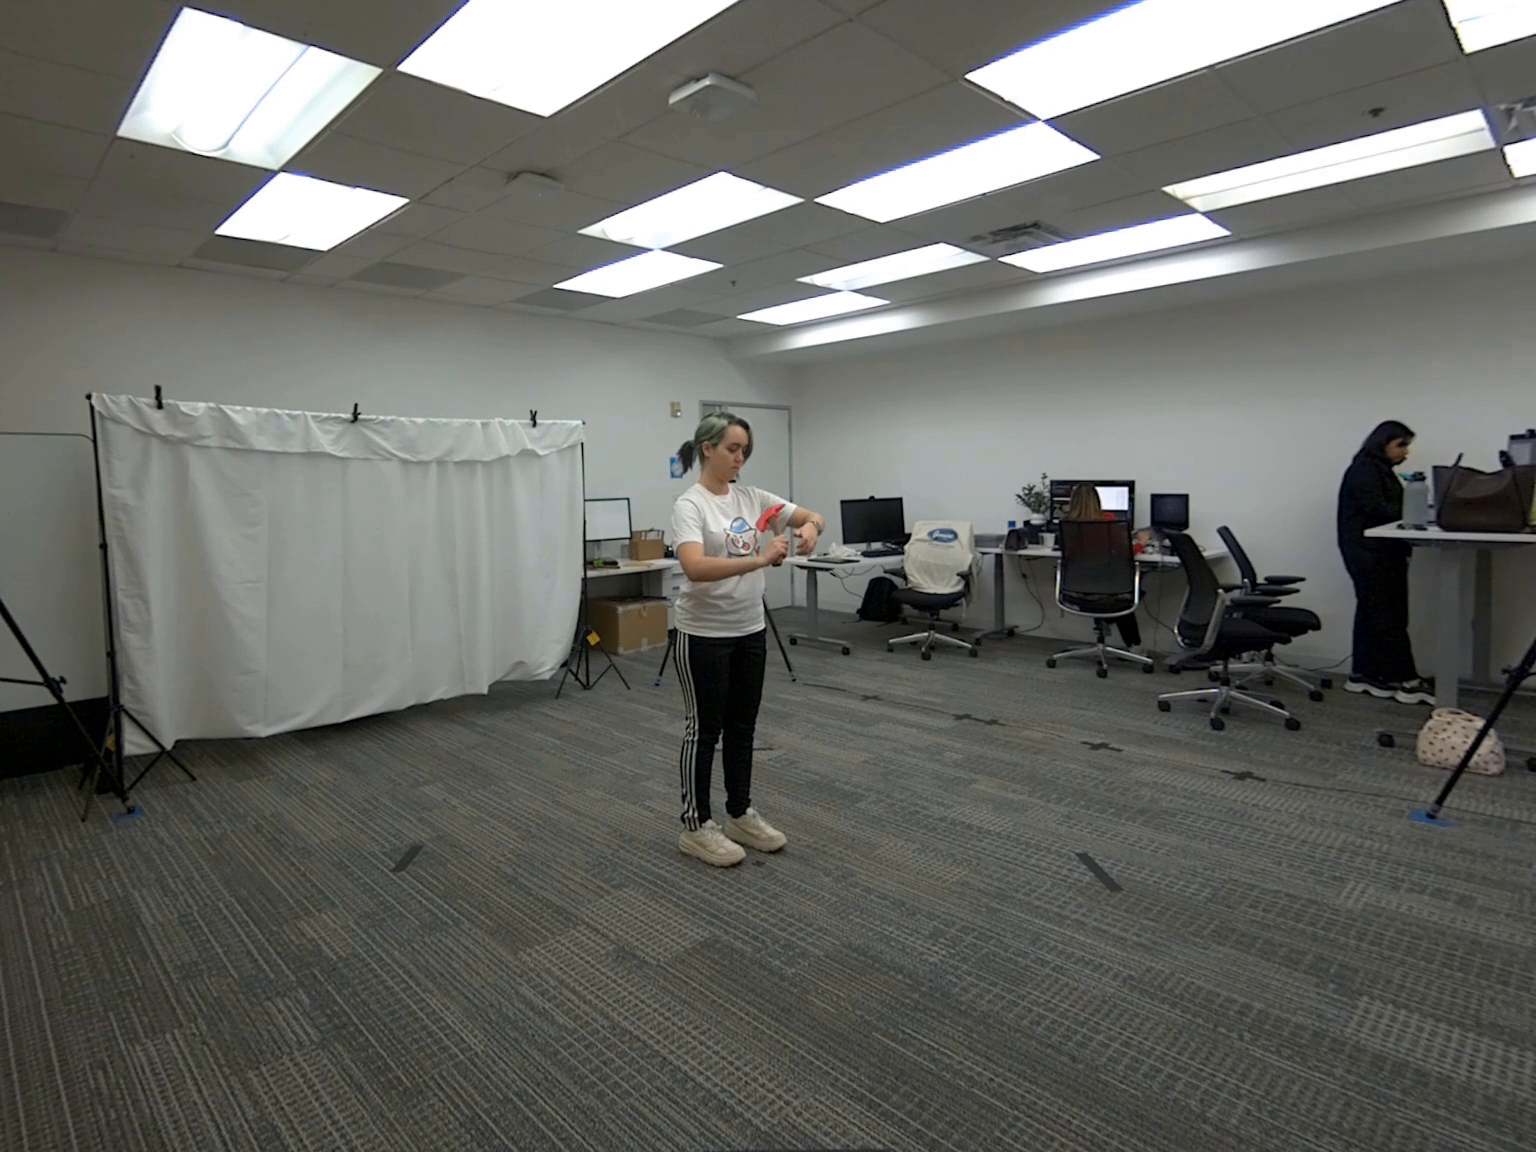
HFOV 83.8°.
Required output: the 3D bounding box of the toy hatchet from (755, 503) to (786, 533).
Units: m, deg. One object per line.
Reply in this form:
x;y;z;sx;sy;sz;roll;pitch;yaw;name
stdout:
-0.006;-0.119;2.992;0.132;0.278;0.028;-19;-39;19;toy hatchet
